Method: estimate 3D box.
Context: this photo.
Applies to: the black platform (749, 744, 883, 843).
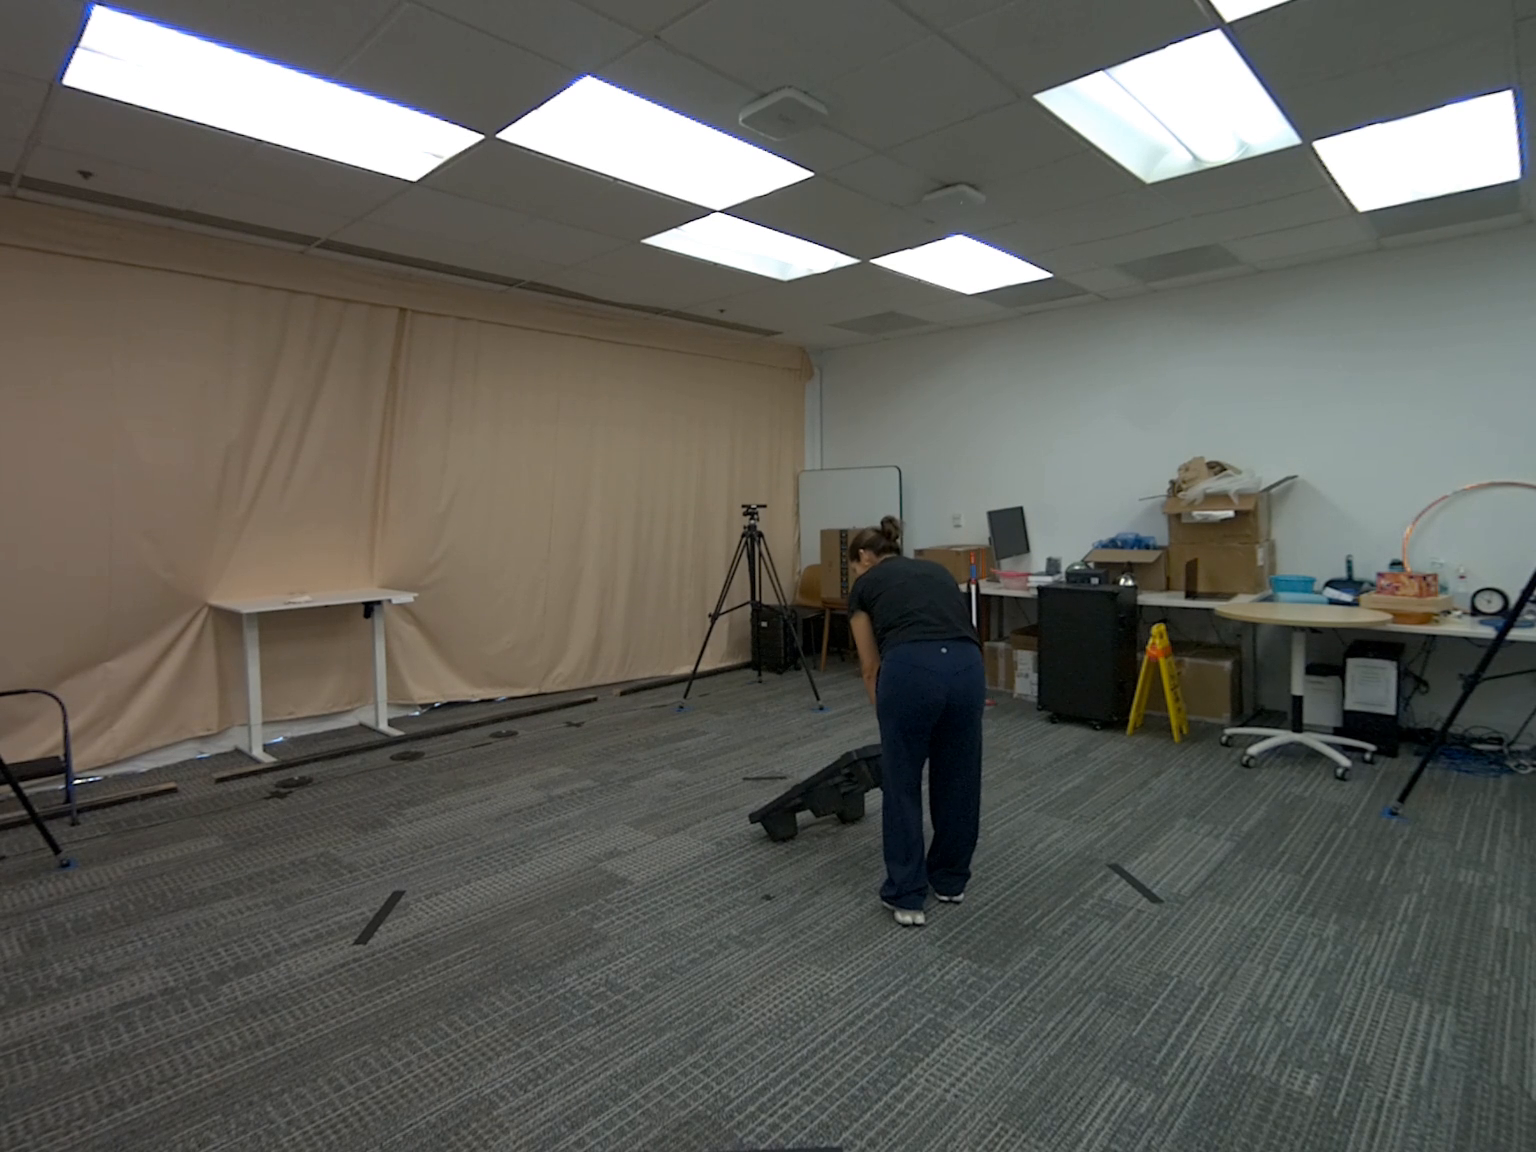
[{"bbox_3d":[0.376,0.840,3.351,0.588,0.146,0.811,-4,-28,-34],"label":"black platform"}]
